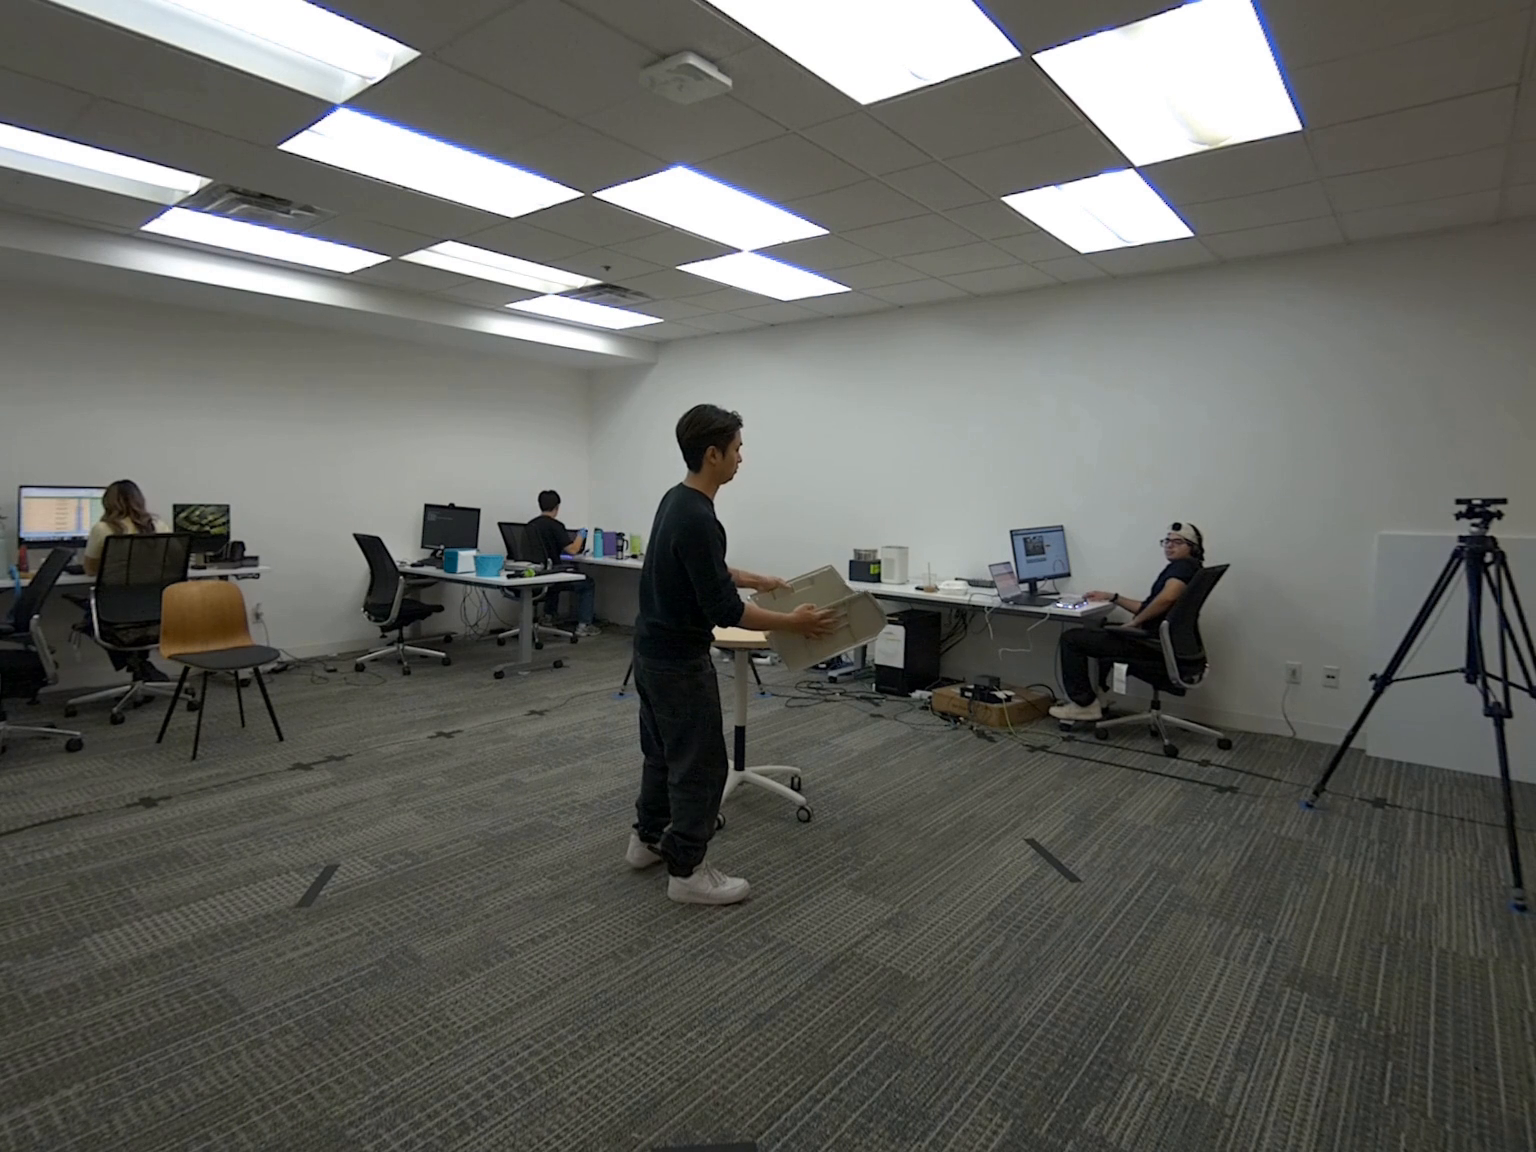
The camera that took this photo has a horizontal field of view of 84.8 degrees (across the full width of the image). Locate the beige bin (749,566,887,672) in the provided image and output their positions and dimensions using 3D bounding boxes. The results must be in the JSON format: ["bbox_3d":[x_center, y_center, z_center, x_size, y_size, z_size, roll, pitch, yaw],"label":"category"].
[{"bbox_3d":[0.160,0.139,3.007,0.375,0.186,0.432,-22,16,-8],"label":"beige bin"}]
